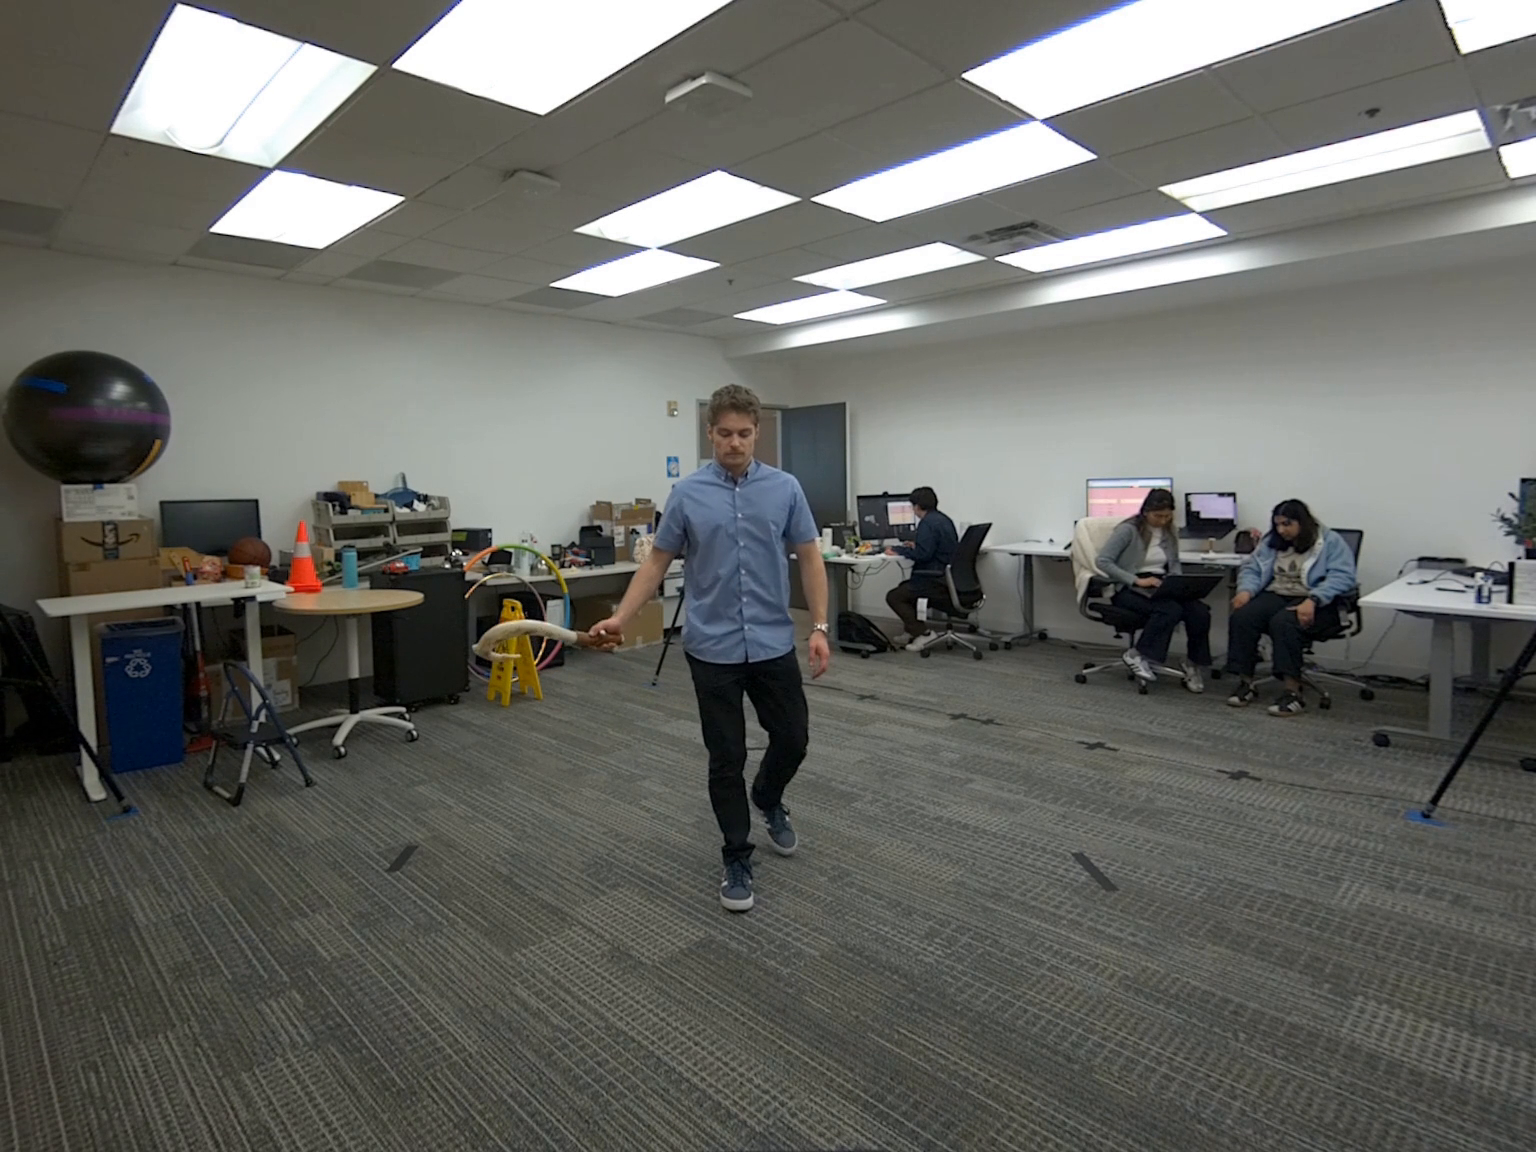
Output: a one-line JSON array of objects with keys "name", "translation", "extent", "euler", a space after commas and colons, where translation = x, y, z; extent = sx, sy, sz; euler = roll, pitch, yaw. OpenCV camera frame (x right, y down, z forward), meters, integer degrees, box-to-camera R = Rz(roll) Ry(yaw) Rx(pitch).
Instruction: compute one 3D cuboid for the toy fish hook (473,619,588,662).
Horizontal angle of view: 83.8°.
[{"name": "toy fish hook", "translation": [-0.662, 0.218, 2.631], "extent": [0.226, 0.050, 0.489], "euler": [-37, -30, 31]}]
